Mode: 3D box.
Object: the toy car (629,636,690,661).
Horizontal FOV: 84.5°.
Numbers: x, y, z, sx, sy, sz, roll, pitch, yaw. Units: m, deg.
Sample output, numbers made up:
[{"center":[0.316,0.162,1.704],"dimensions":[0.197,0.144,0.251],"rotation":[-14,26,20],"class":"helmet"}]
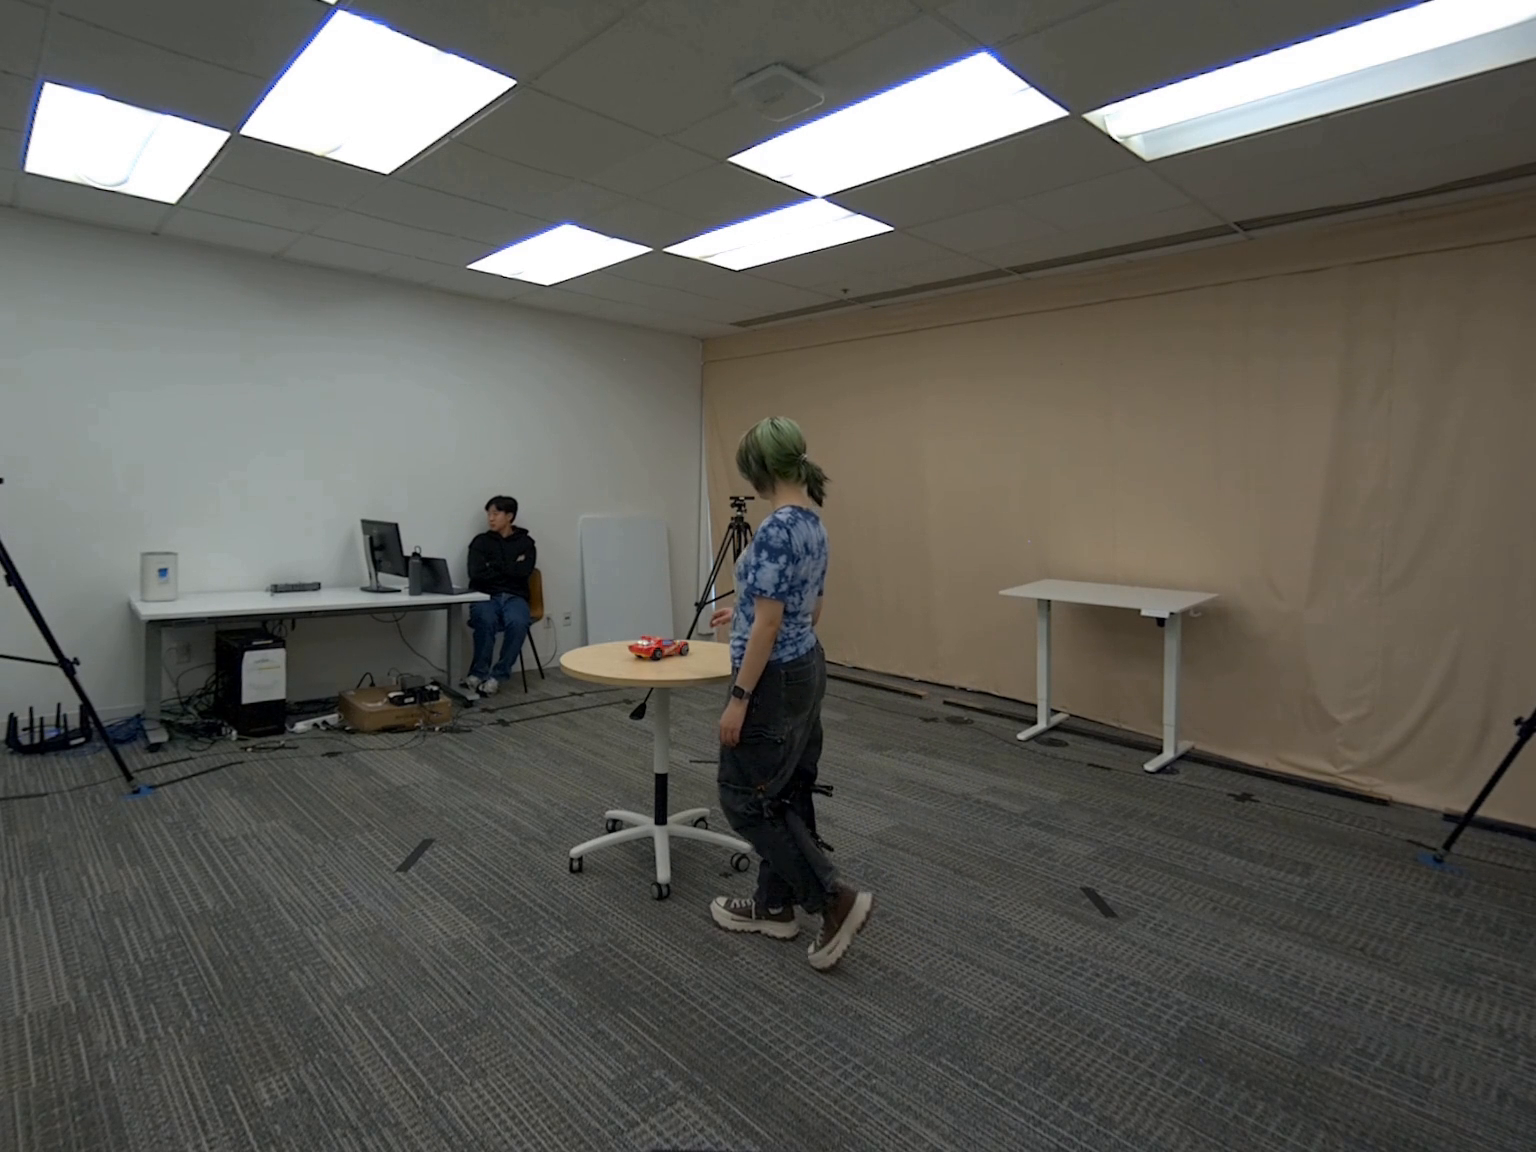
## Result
[{"center":[-0.429,0.275,3.188],"dimensions":[0.133,0.083,0.247],"rotation":[6,-4,40],"class":"toy car"}]
